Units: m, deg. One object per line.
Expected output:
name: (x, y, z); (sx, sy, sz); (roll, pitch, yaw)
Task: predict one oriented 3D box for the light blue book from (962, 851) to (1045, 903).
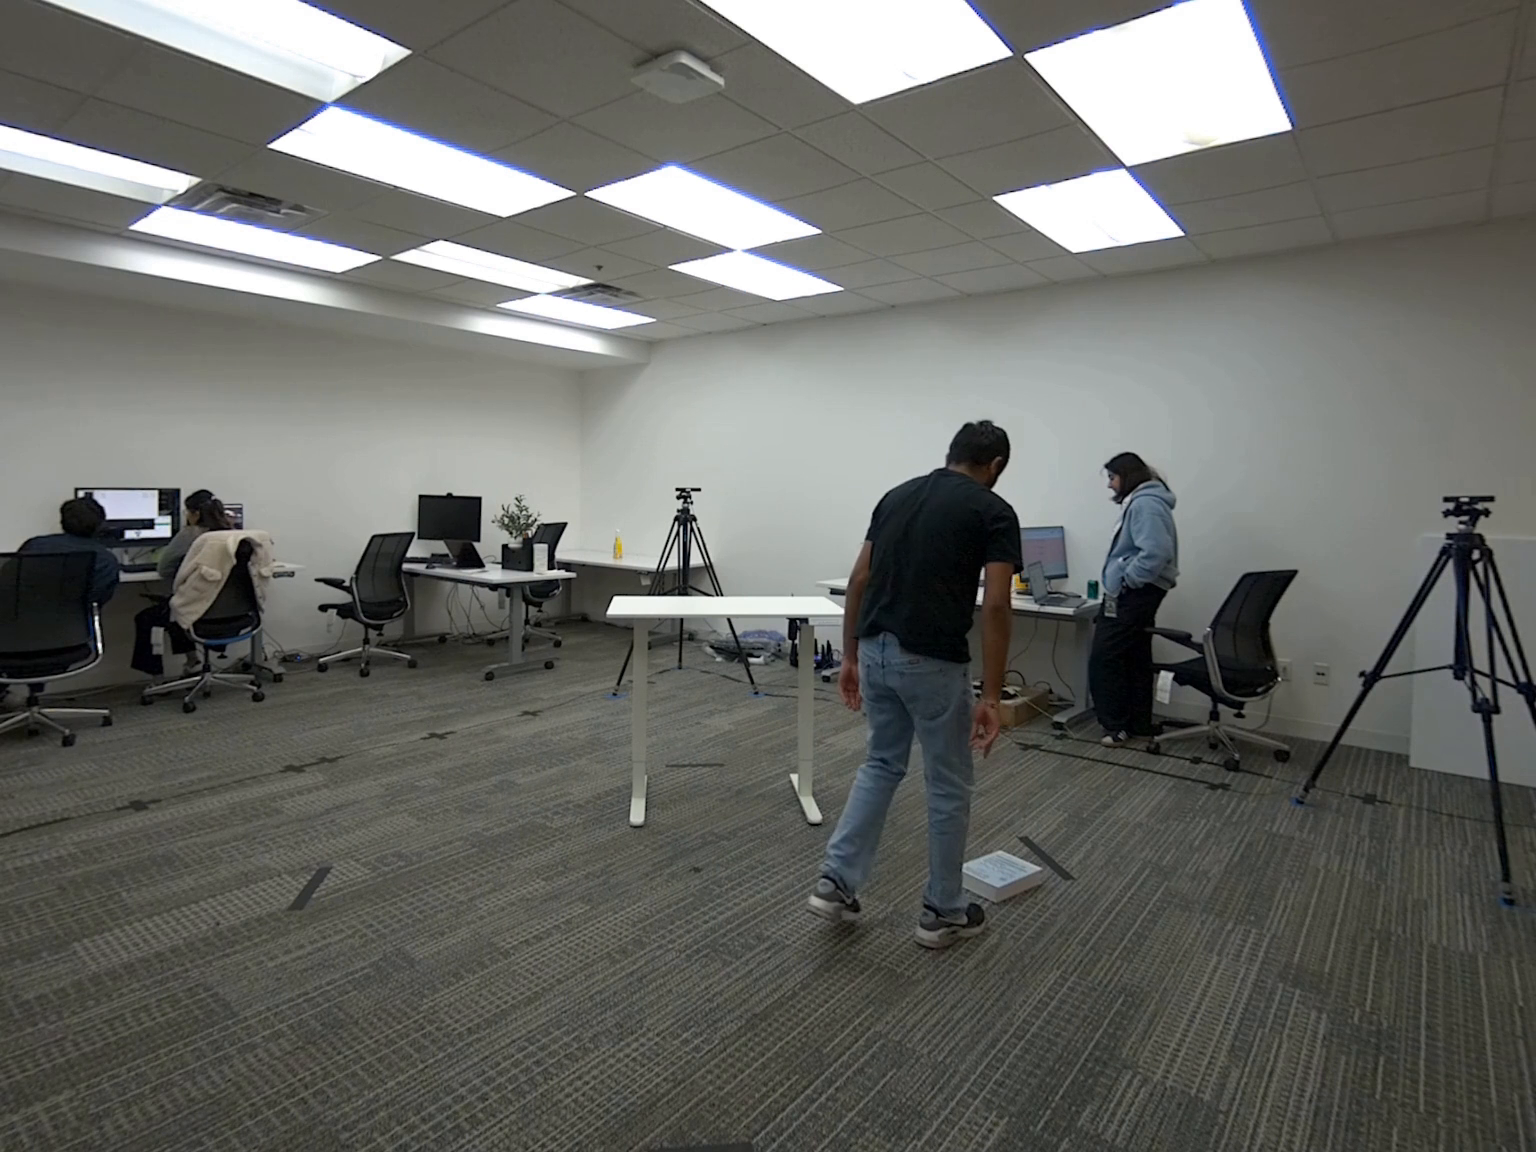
light blue book: (0.818, 1.063, 3.044); (0.253, 0.059, 0.198); (-4, 8, -37)
